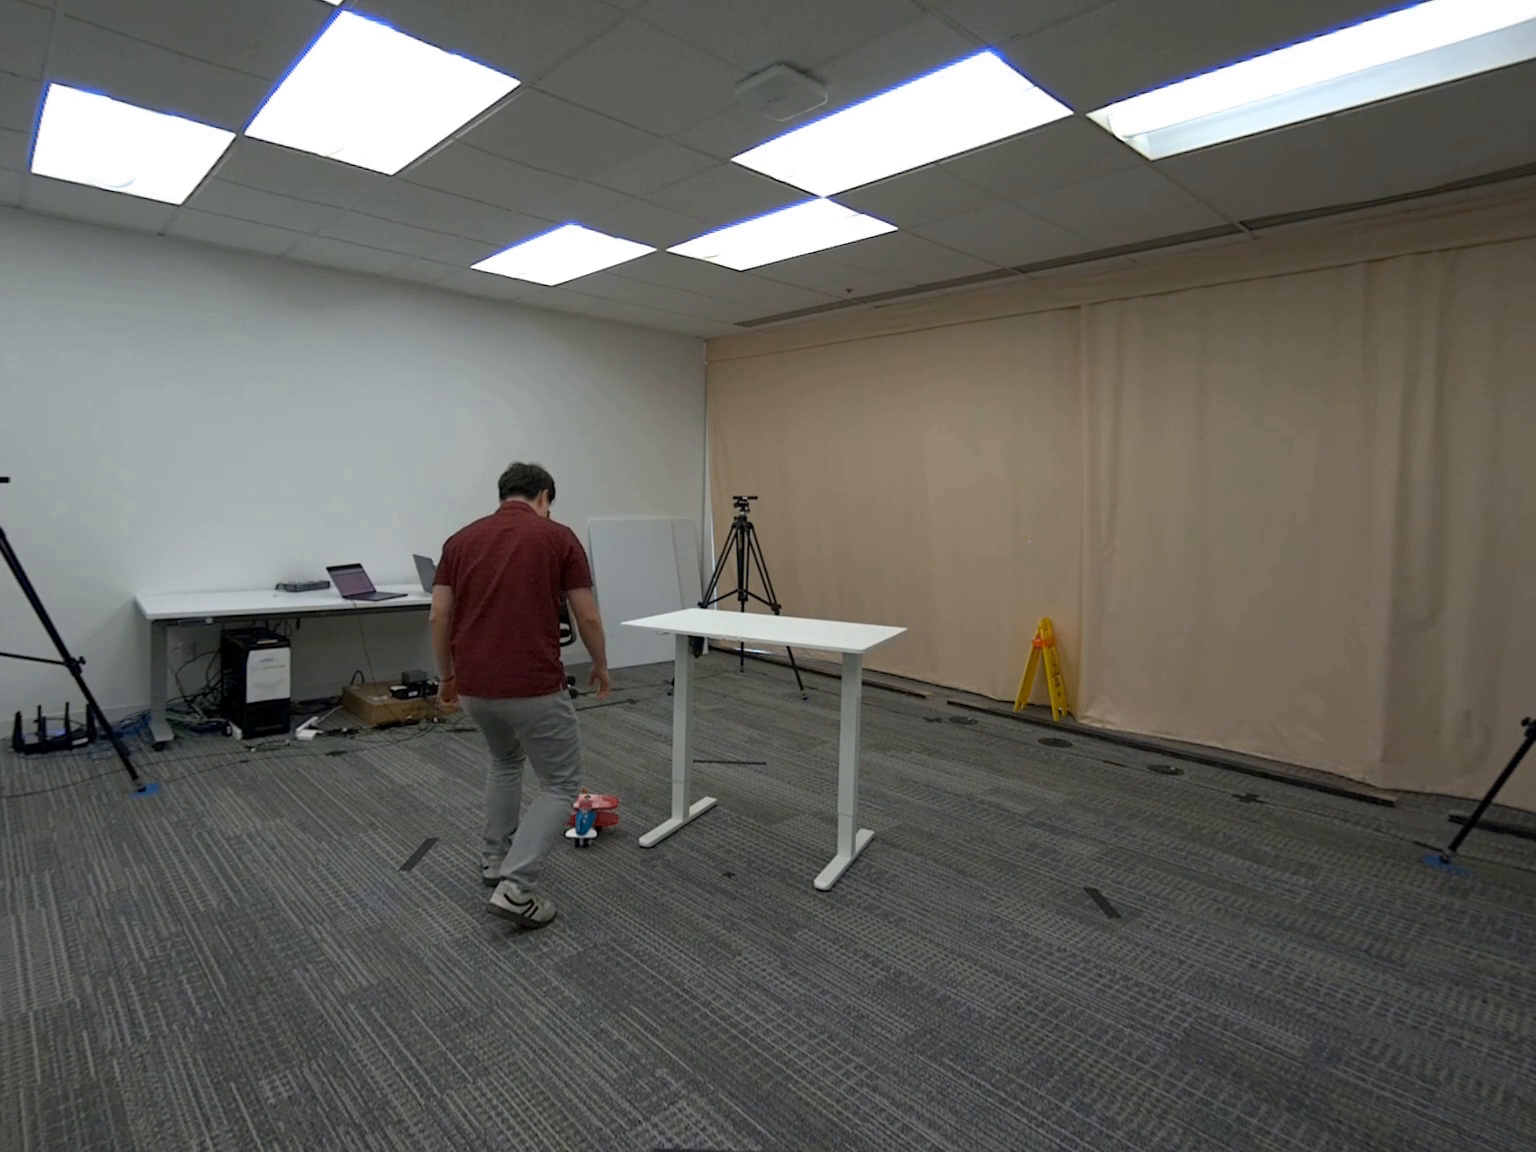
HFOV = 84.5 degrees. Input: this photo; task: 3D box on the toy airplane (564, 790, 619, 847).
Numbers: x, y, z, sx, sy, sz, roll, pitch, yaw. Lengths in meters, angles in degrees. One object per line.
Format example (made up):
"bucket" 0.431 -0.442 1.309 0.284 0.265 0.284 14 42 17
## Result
"toy airplane" -0.733 0.990 3.413 0.246 0.156 0.265 0 4 -28
